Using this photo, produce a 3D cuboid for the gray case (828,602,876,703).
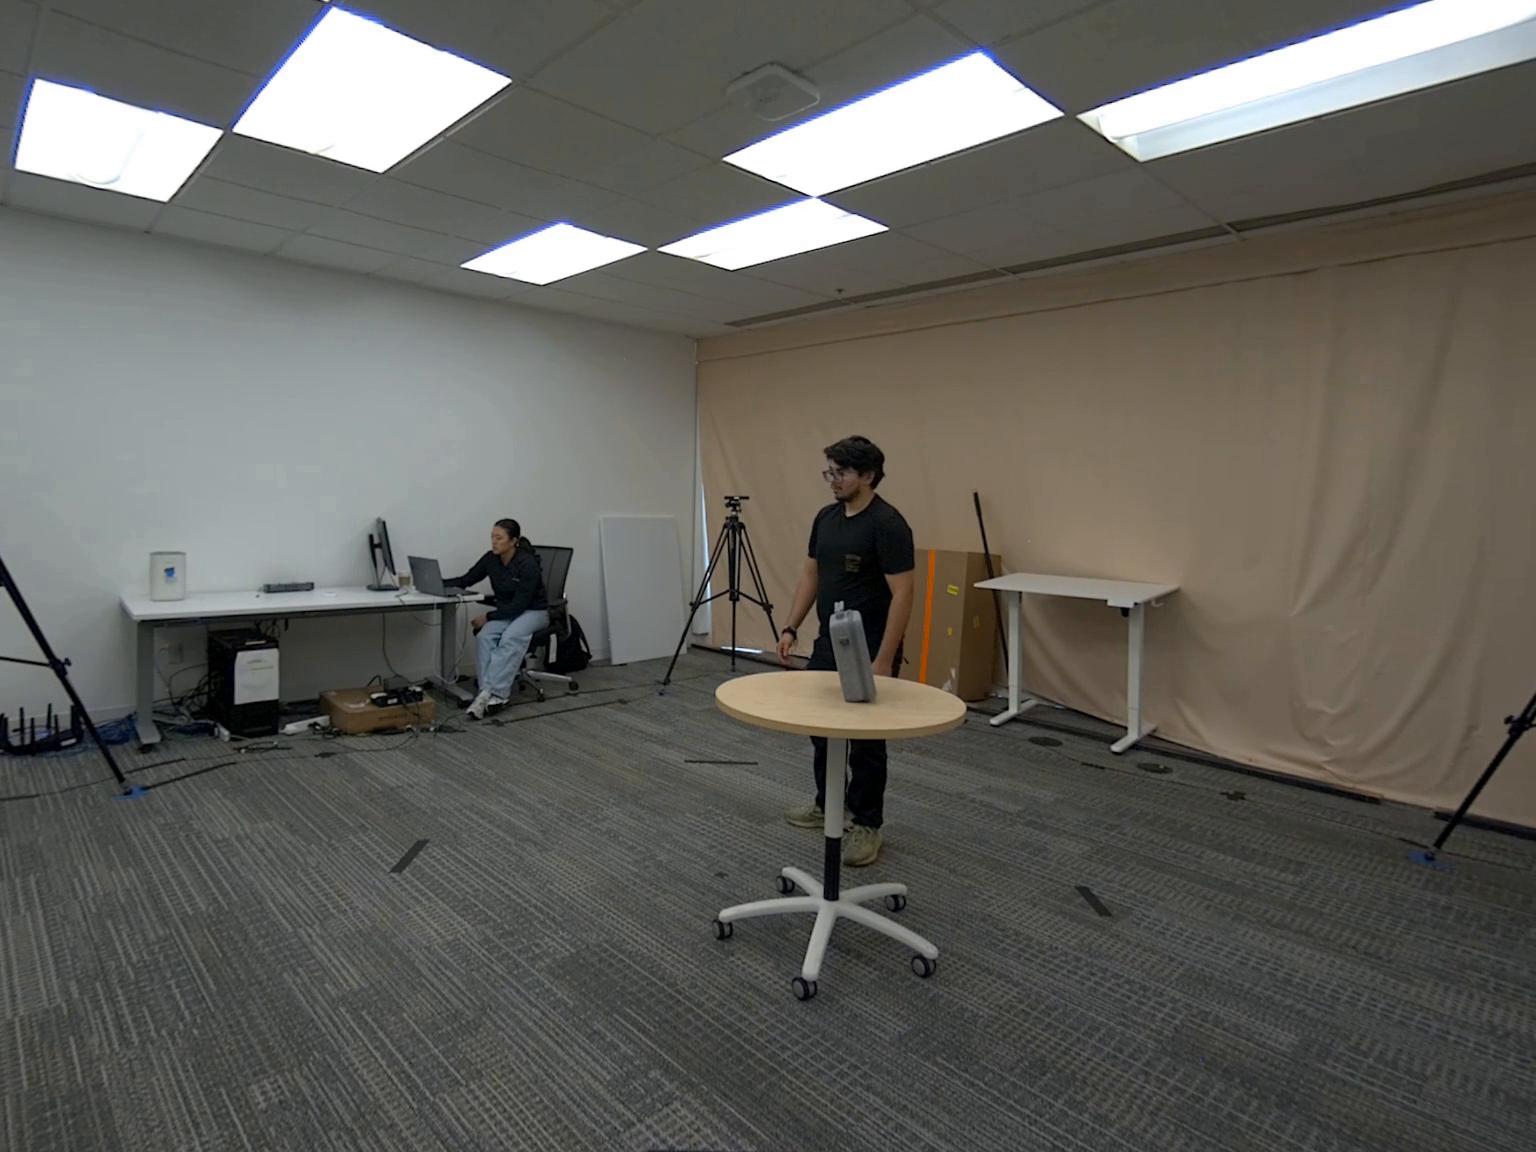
[{"bbox_3d":[0.249,0.244,2.635,0.105,0.260,0.256,-8,1,5],"label":"gray case"}]
